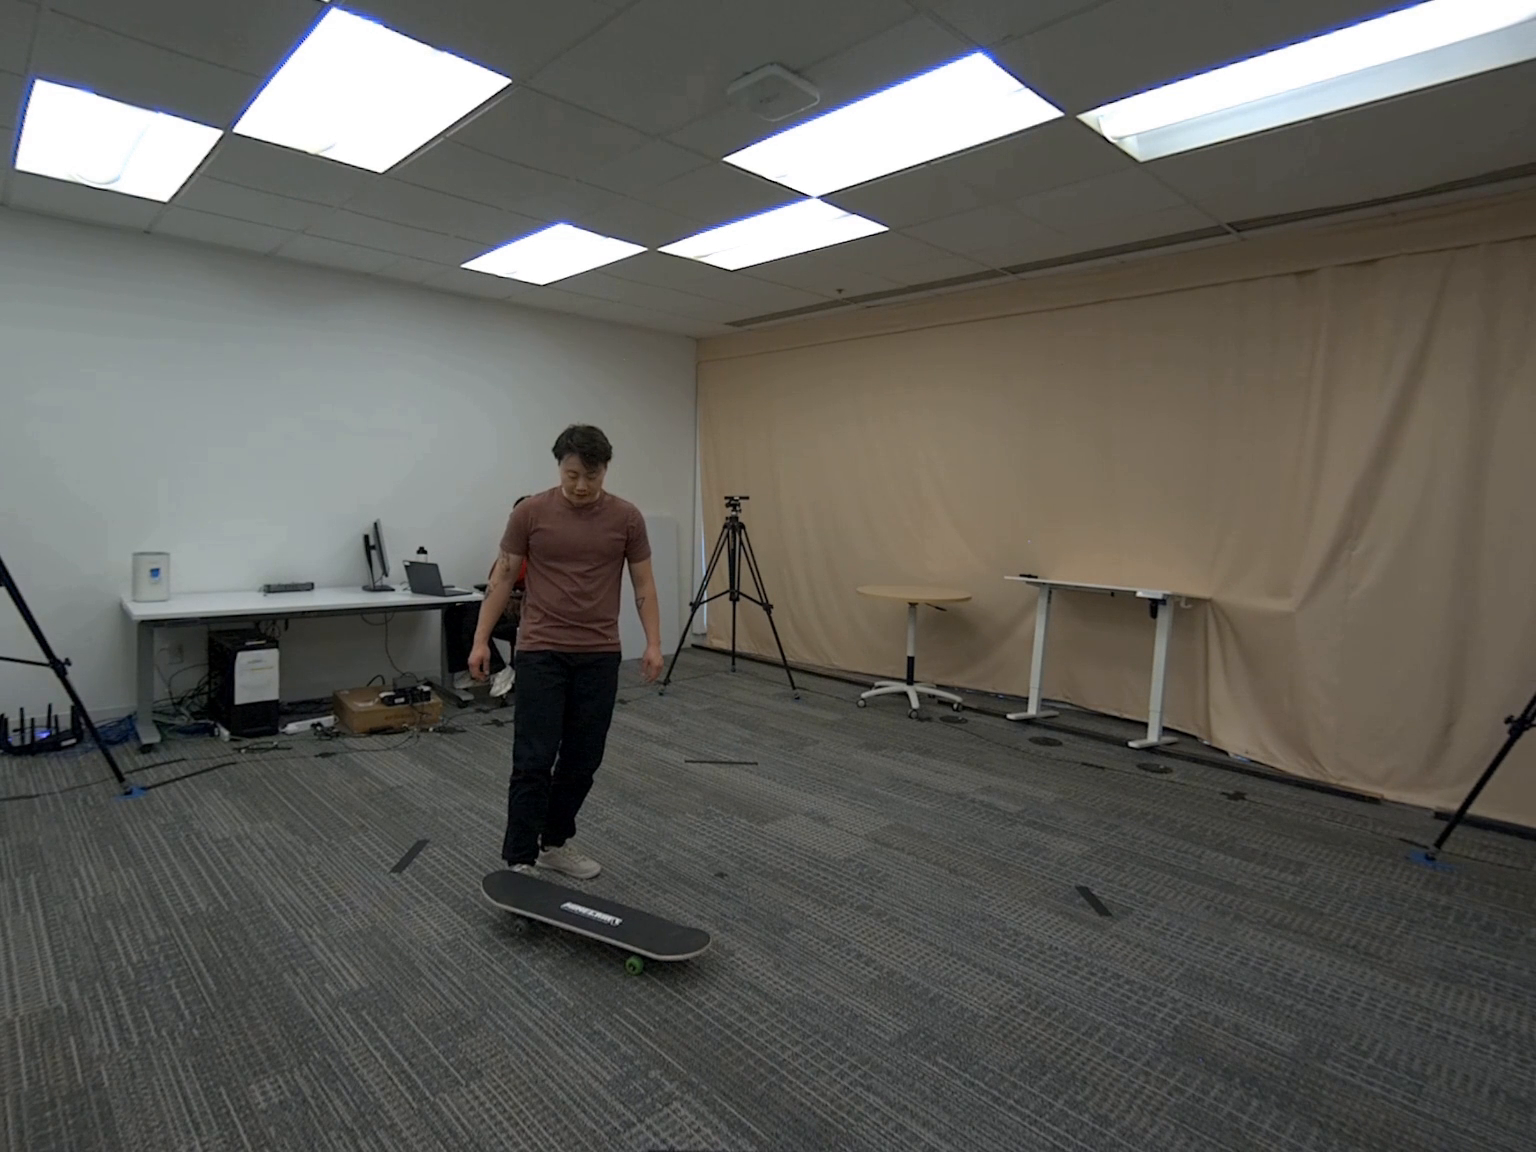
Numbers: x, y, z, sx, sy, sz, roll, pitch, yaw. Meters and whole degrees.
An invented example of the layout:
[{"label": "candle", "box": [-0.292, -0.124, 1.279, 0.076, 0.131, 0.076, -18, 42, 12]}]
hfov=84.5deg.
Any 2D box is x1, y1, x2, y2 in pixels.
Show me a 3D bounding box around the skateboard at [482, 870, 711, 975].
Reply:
[{"label": "skateboard", "box": [-0.554, 1.076, 2.583, 0.799, 0.110, 0.191, 7, 6, 21]}]
